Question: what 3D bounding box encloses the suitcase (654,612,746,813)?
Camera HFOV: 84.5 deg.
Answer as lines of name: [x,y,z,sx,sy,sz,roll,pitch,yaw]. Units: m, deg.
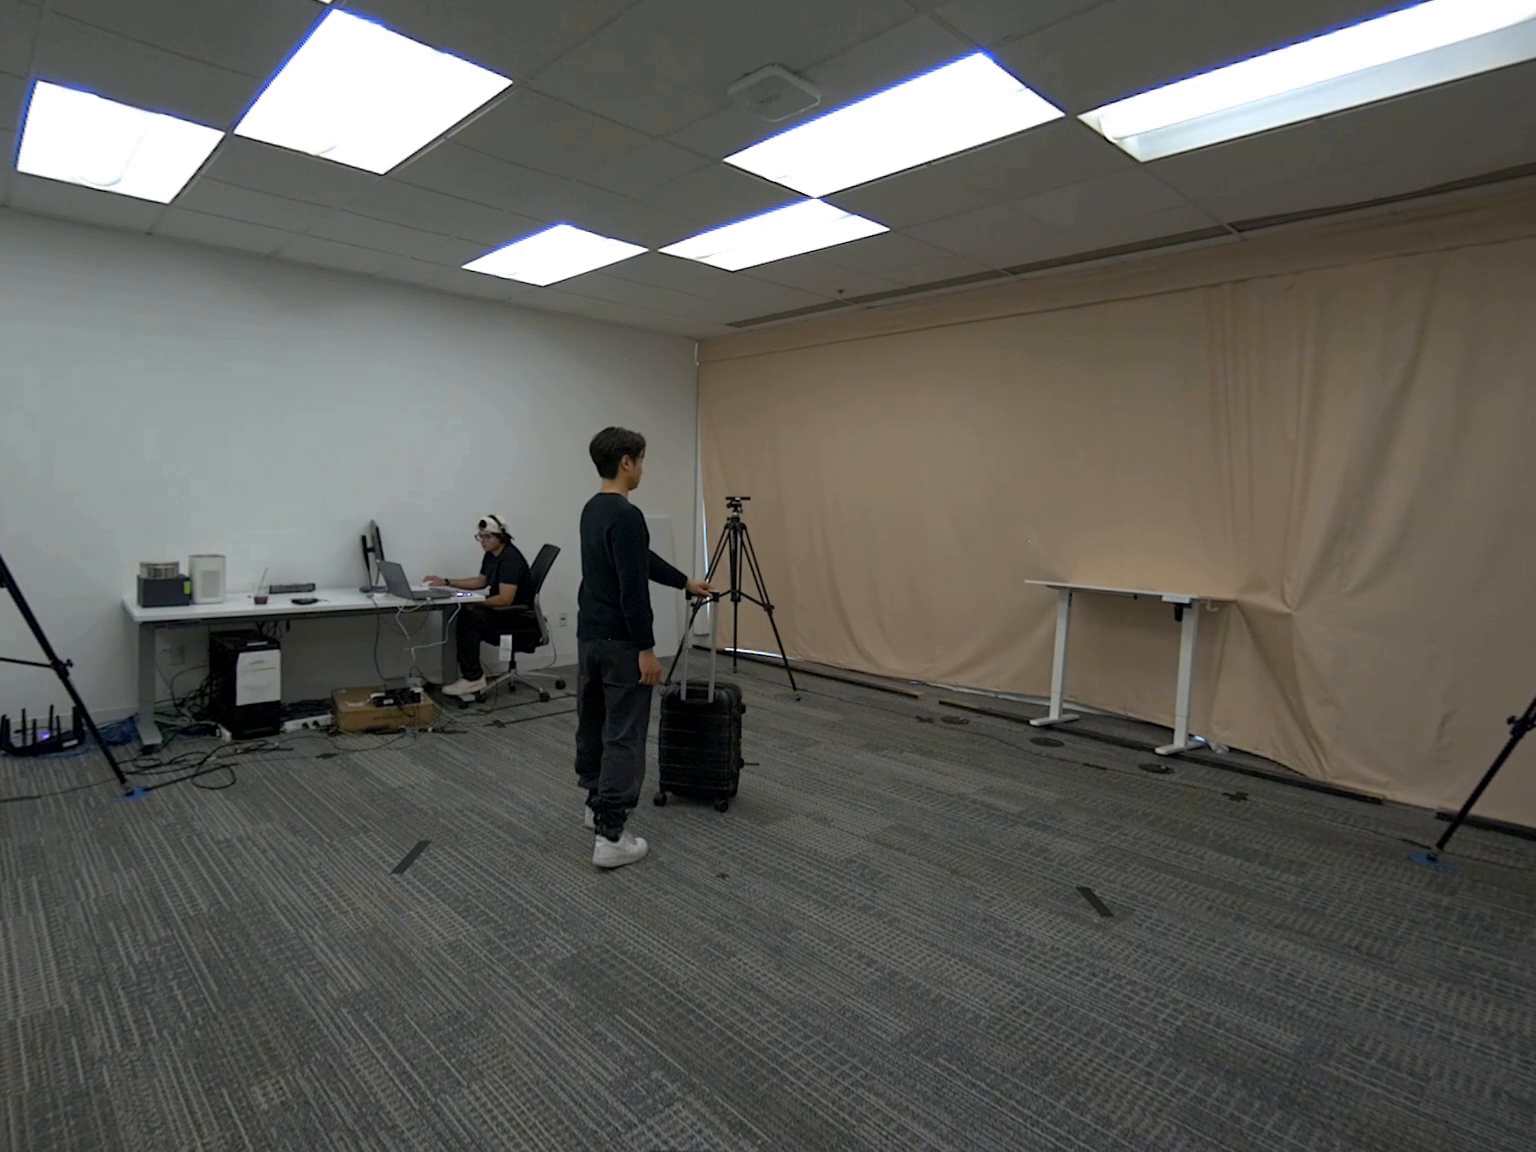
suitcase: [-0.308,0.558,3.887,0.388,0.978,0.254,3,1,14]
